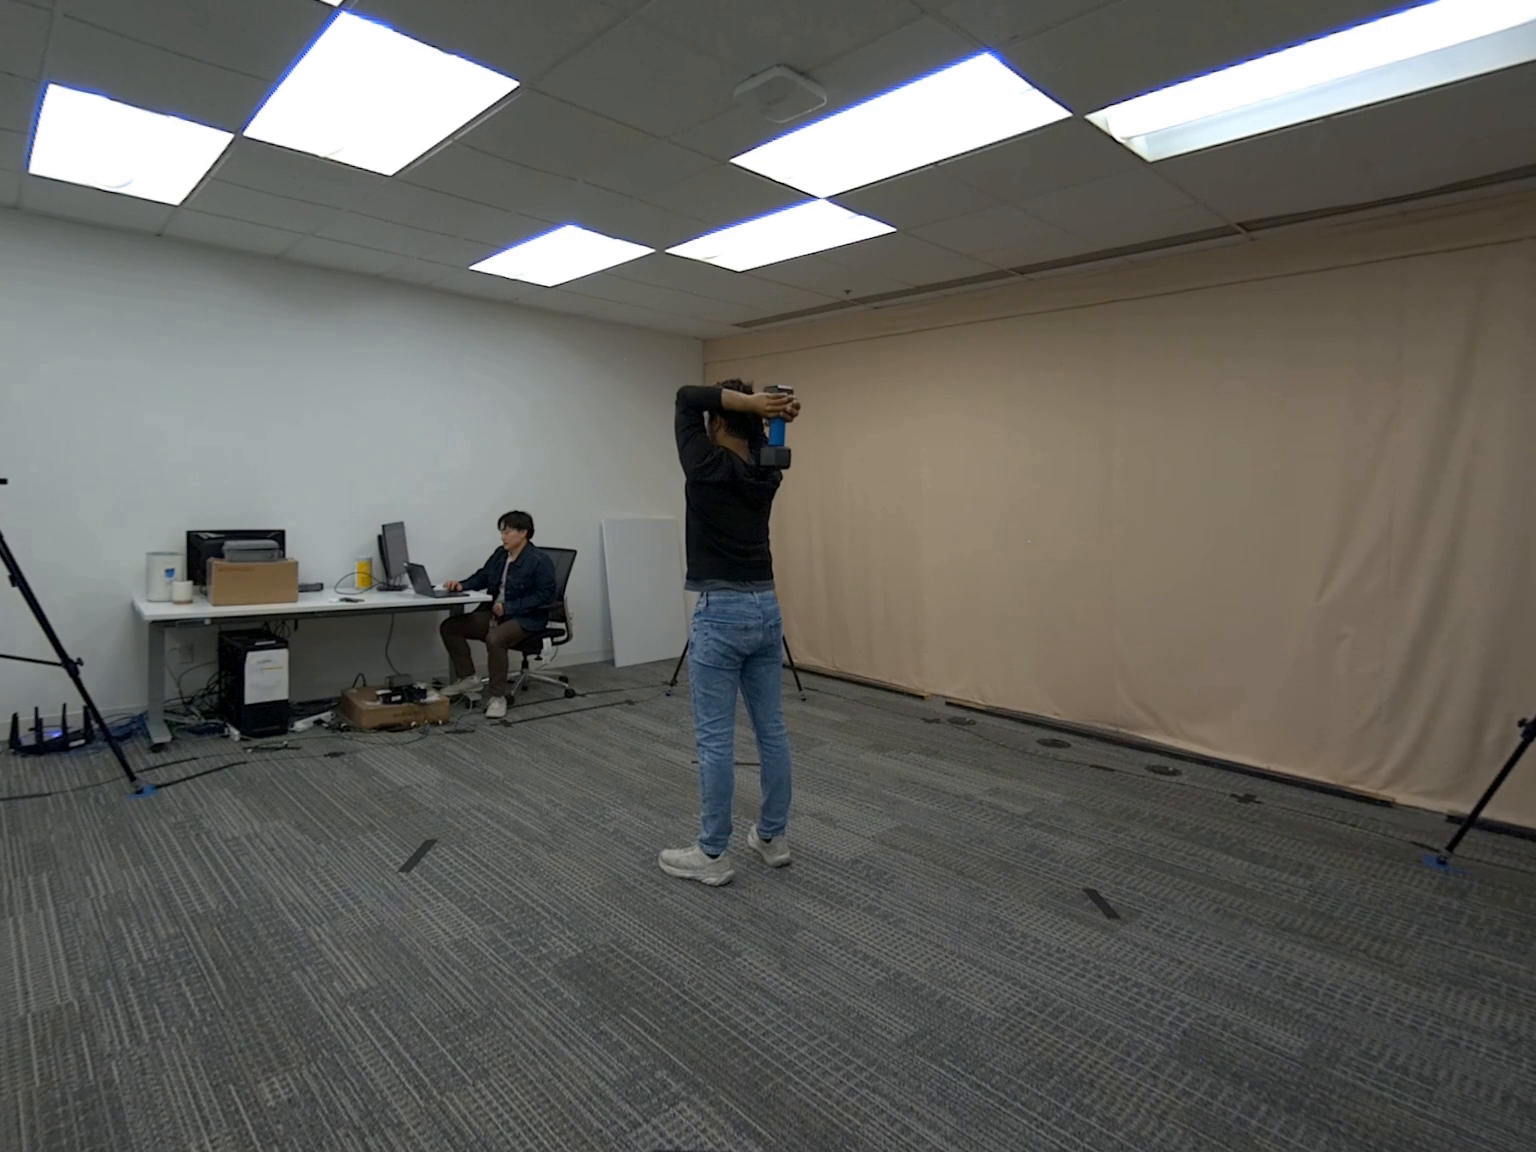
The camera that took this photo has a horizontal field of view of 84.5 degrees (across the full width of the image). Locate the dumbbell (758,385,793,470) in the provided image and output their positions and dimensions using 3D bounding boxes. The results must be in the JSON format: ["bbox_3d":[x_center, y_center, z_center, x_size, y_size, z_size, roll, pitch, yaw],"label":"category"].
[{"bbox_3d":[0.007,-0.535,3.015,0.120,0.294,0.111,2,0,-36],"label":"dumbbell"}]
